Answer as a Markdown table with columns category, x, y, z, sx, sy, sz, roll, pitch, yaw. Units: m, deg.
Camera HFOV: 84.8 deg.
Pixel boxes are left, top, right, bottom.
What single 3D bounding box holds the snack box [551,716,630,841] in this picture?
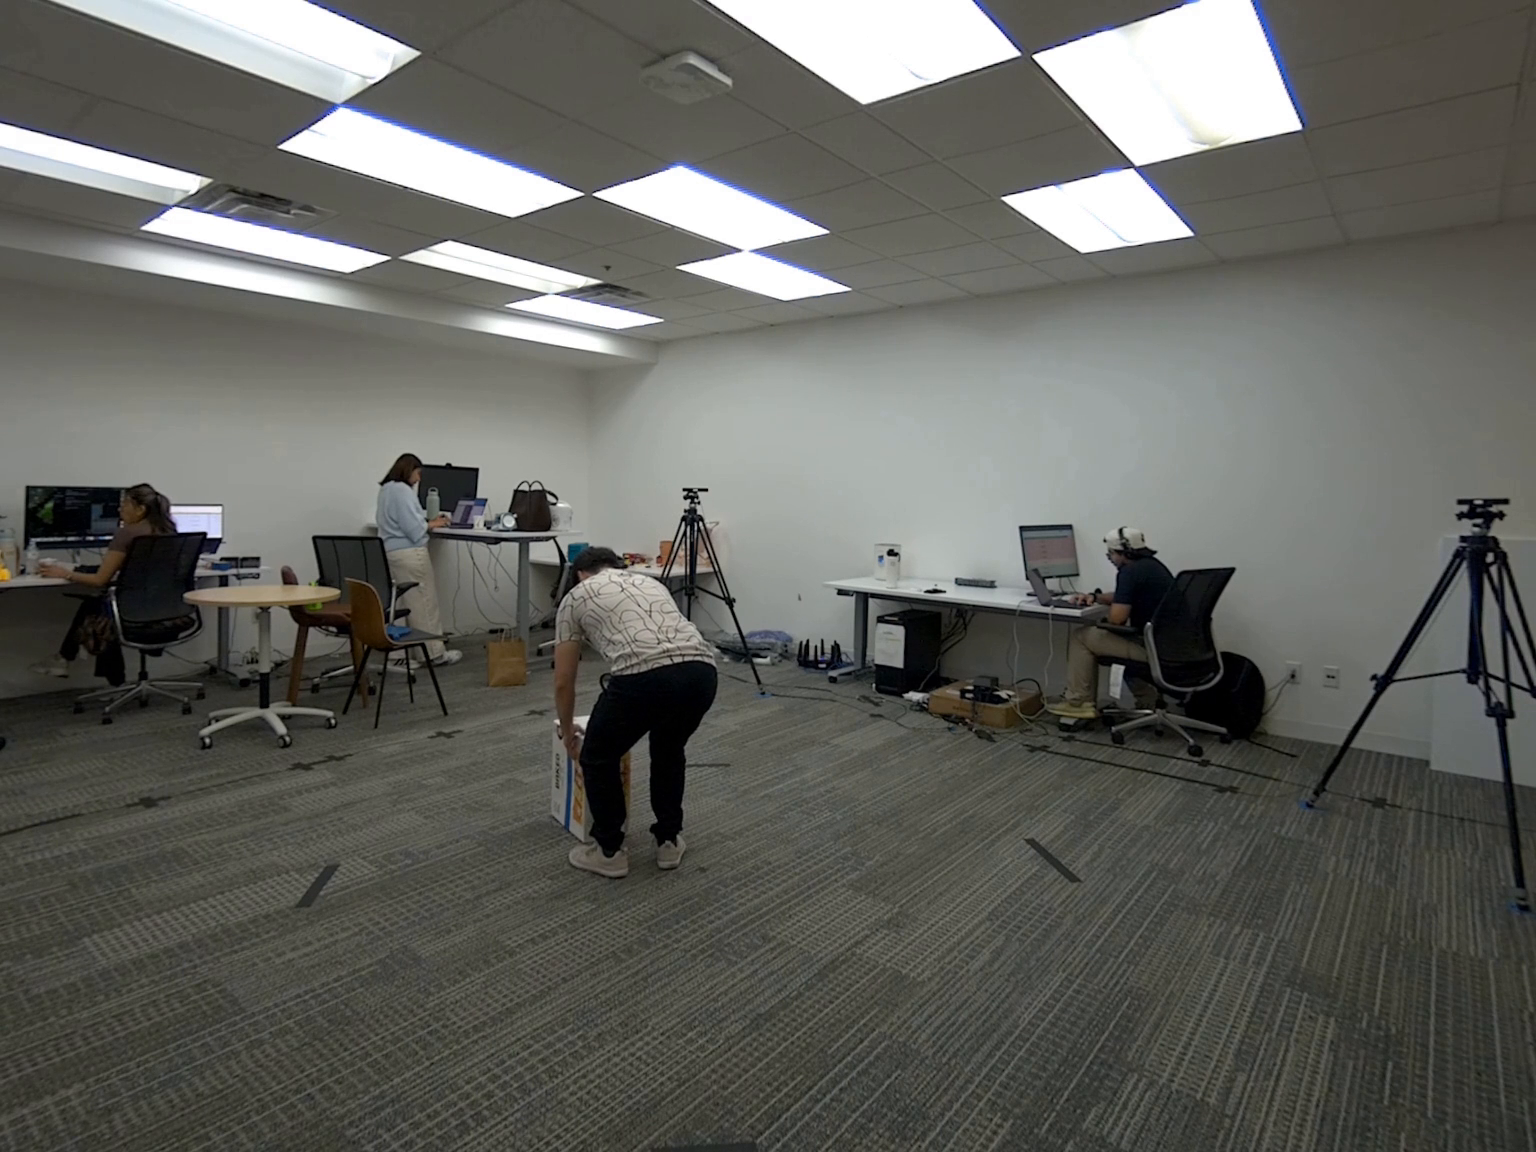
| category | x | y | z | sx | sy | sz | roll | pitch | yaw |
| --- | --- | --- | --- | --- | --- | --- | --- | --- | --- |
| snack box | -0.745 | 0.821 | 3.497 | 0.199 | 0.404 | 0.351 | 1 | 3 | -35 |
